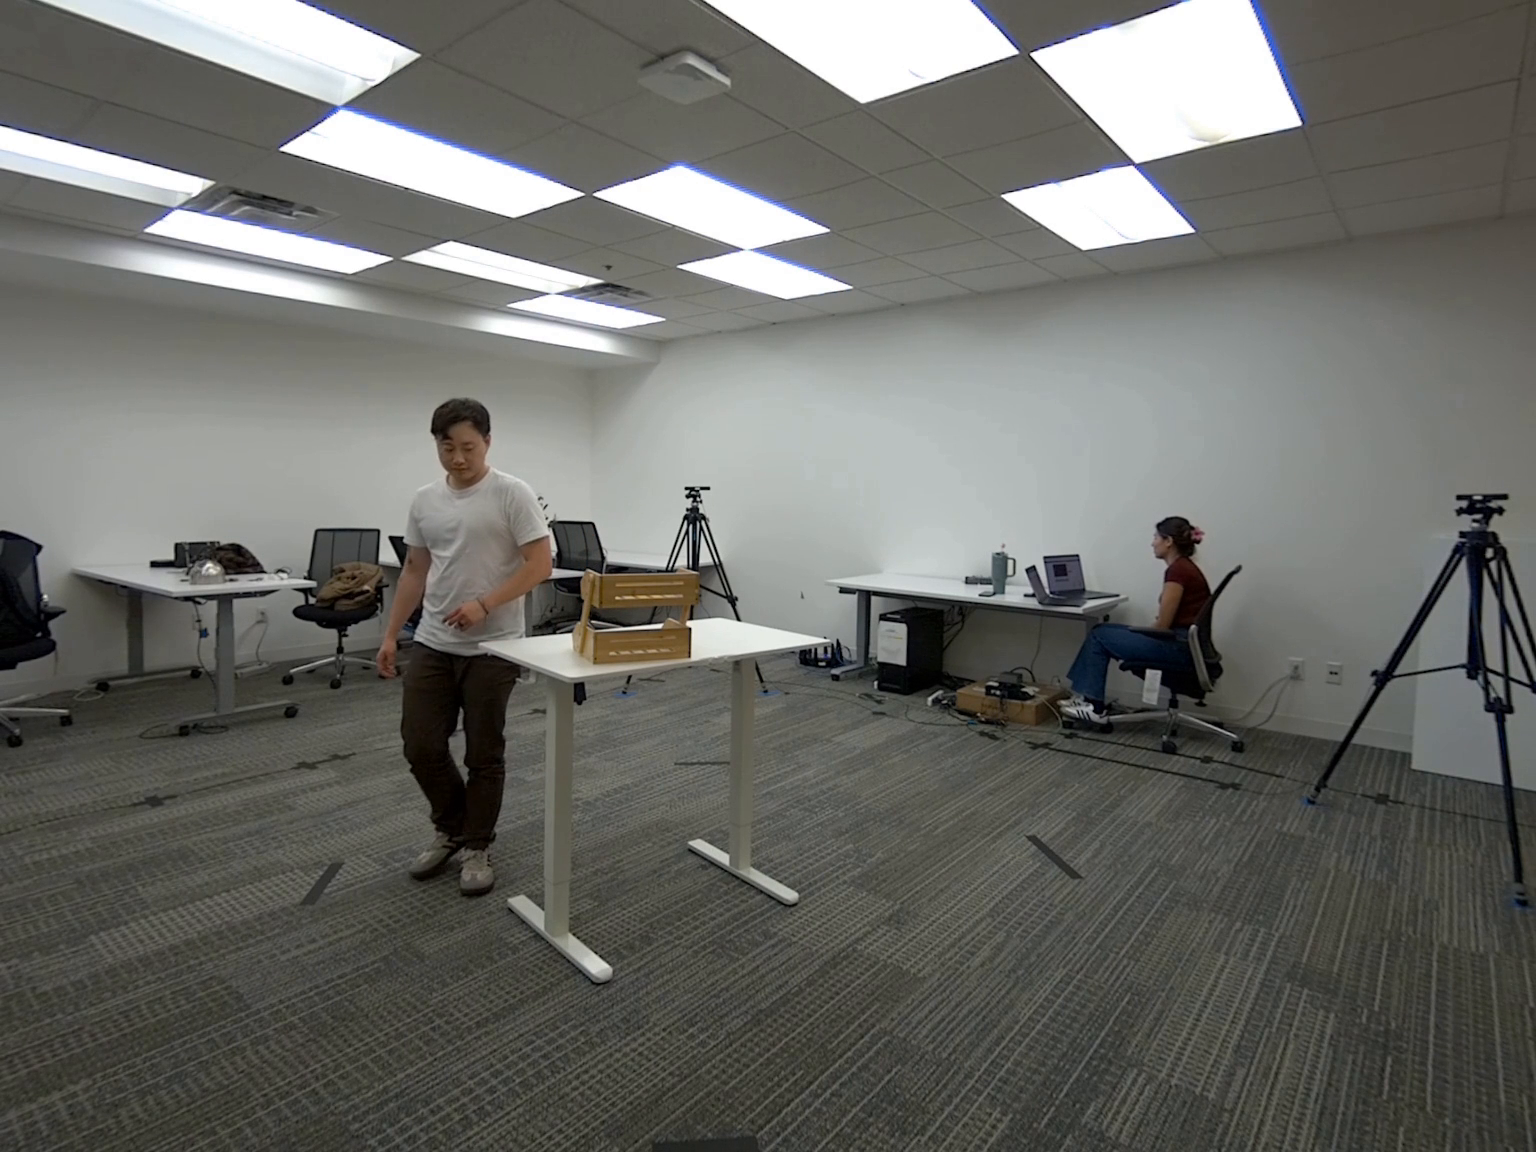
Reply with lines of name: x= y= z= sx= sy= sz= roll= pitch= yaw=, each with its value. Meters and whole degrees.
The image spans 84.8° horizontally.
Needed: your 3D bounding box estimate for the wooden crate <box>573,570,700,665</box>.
wooden crate: x=-0.423 y=0.105 z=2.560 sx=0.317 sy=0.272 sz=0.311 roll=-2 pitch=6 yaw=-26
